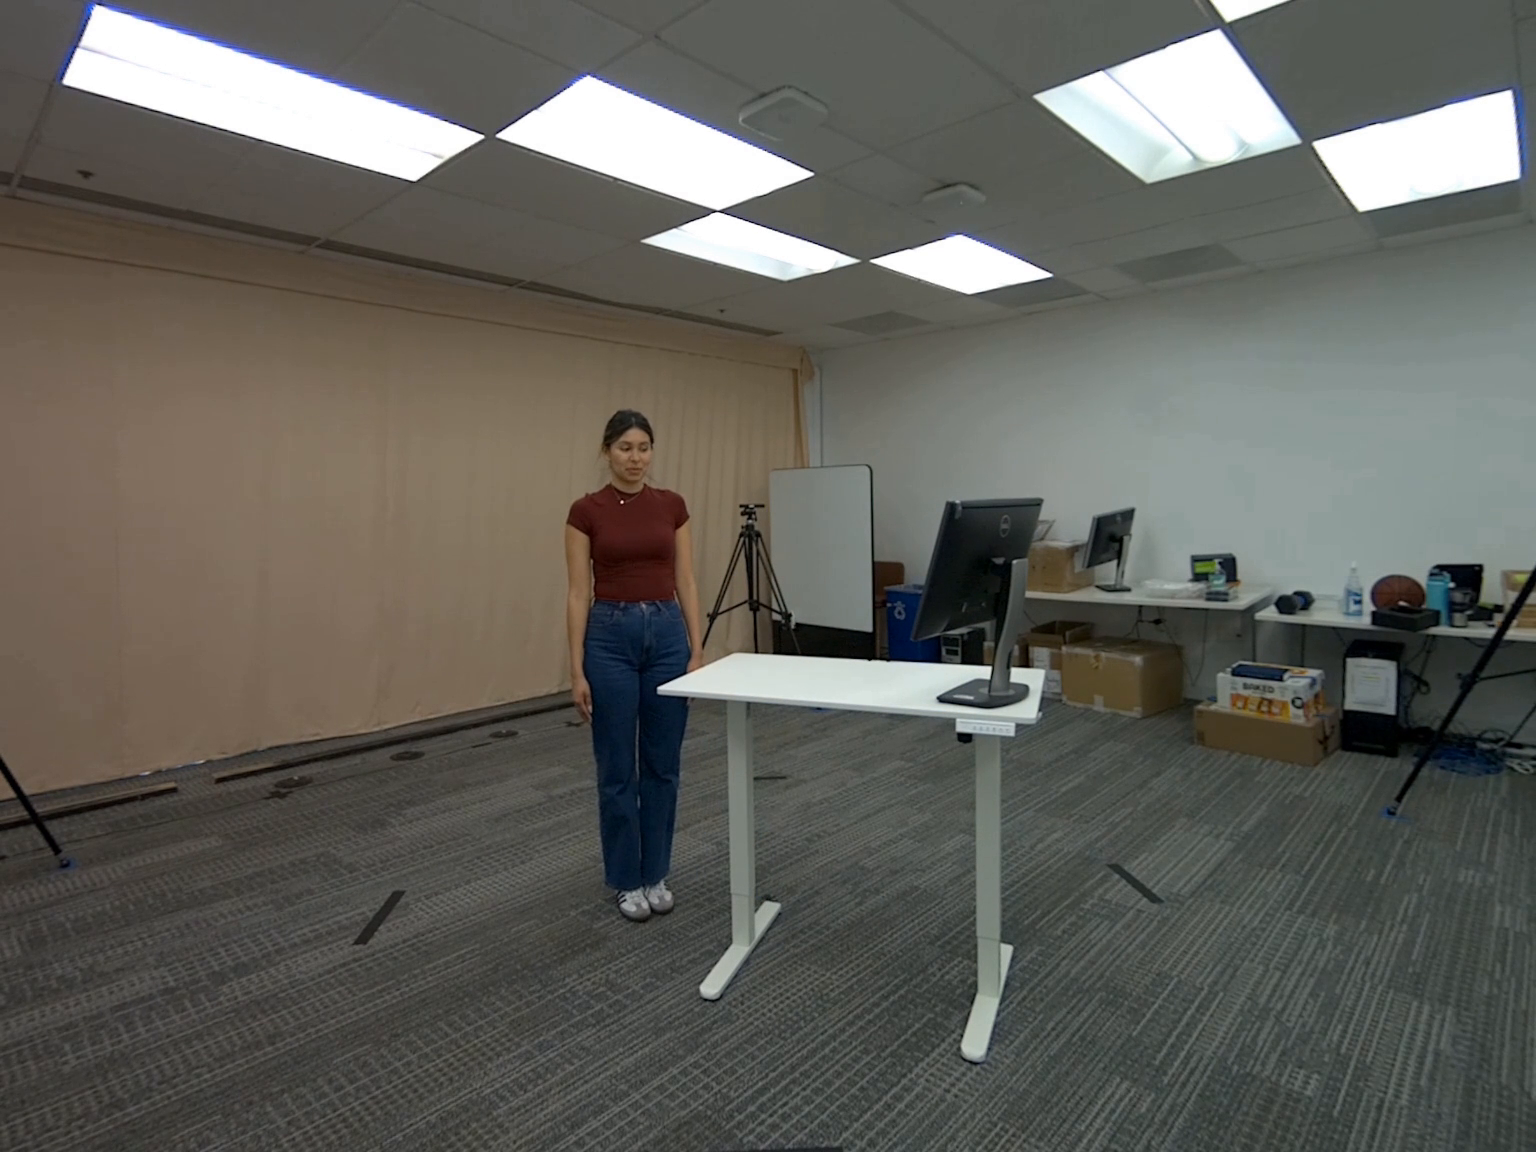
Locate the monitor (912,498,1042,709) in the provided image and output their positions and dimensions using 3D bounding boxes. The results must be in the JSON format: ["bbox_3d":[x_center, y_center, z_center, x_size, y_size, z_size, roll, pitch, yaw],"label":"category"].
[{"bbox_3d":[0.592,0.065,2.177,0.193,0.521,0.523,5,7,38],"label":"monitor"}]
